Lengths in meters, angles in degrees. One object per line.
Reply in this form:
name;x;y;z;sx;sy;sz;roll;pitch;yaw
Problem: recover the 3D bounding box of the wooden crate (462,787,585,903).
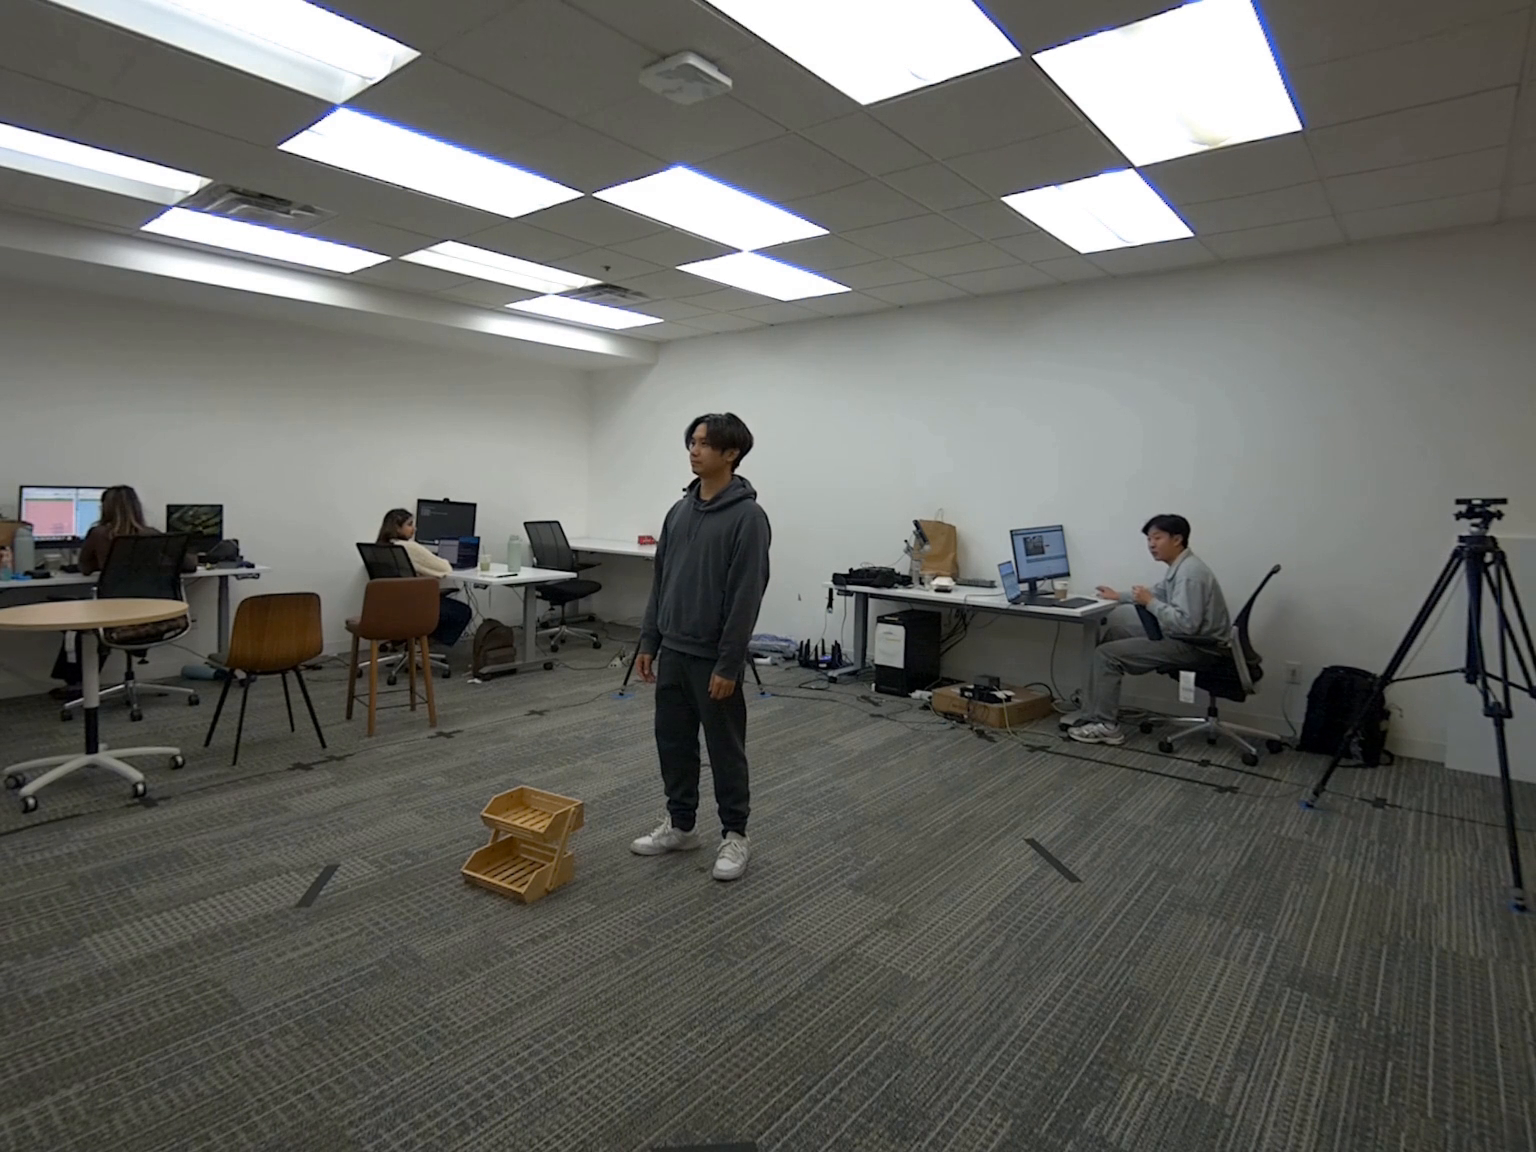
wooden crate;-0.881;0.938;3.003;0.334;0.272;0.294;3;4;29
